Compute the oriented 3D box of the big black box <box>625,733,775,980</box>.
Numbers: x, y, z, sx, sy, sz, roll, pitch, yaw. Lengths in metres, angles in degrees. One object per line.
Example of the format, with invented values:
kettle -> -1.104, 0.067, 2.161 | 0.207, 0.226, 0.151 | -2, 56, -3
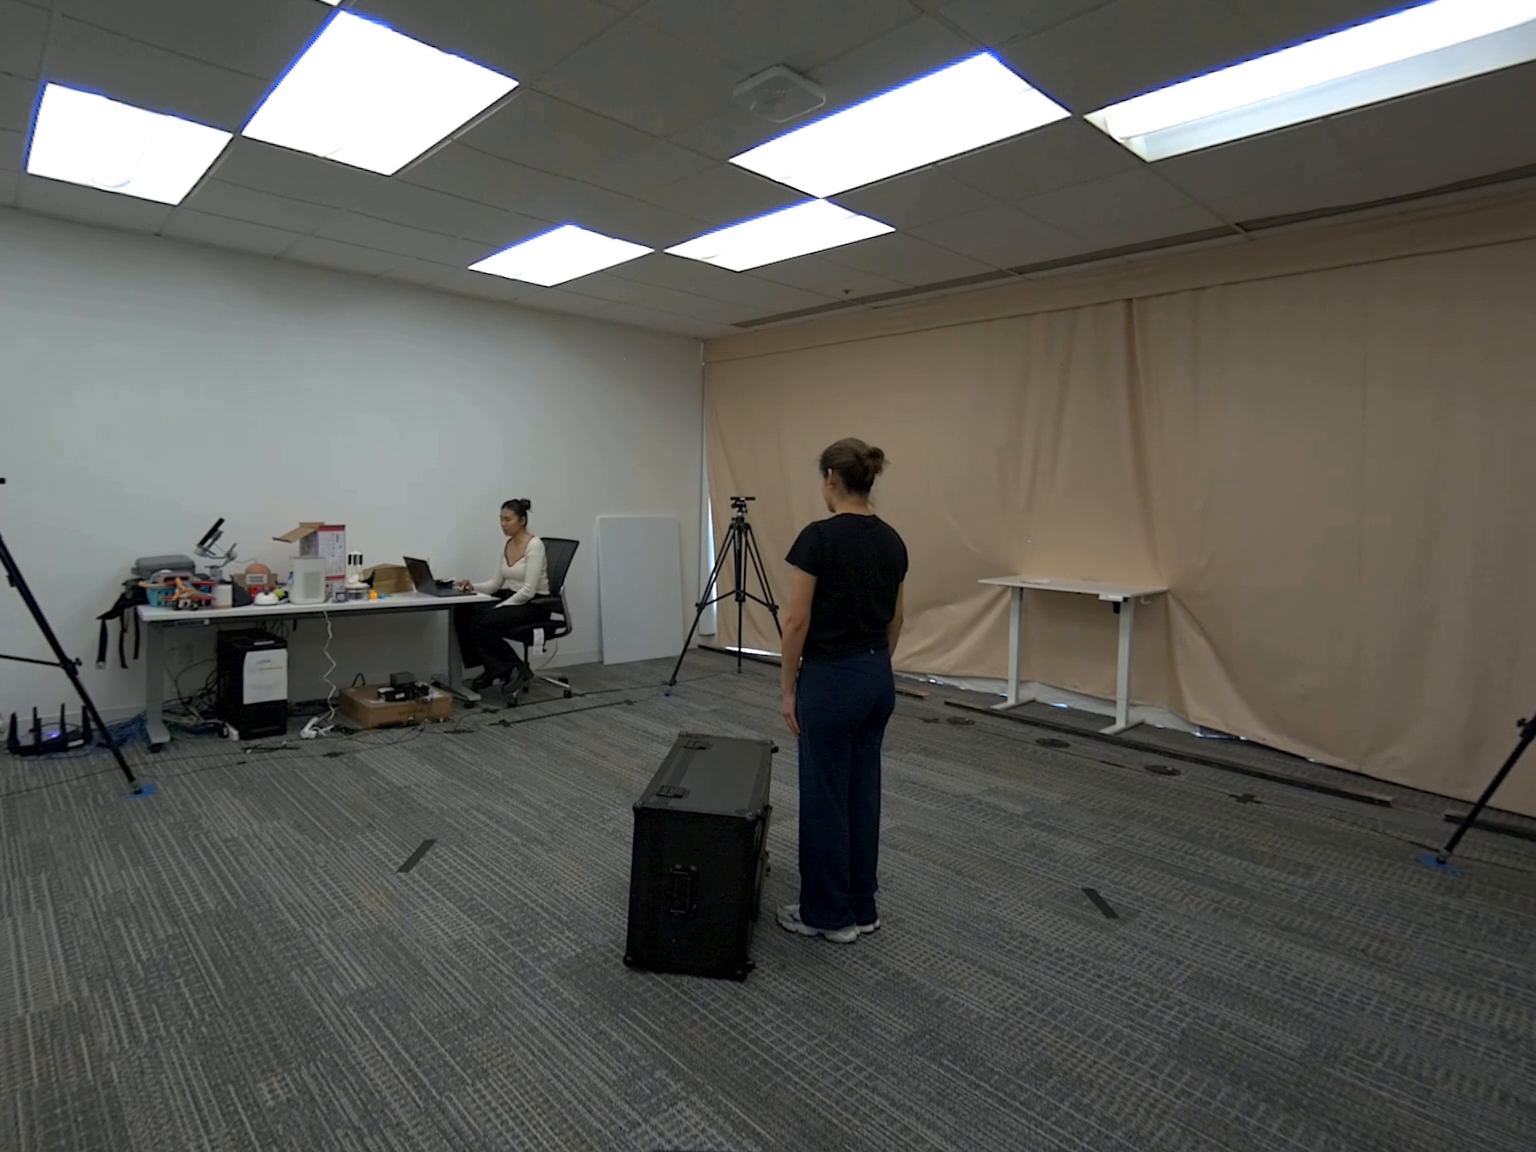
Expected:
big black box -> -0.185, 0.876, 2.823 | 0.398, 0.519, 0.861 | 4, 5, 3
